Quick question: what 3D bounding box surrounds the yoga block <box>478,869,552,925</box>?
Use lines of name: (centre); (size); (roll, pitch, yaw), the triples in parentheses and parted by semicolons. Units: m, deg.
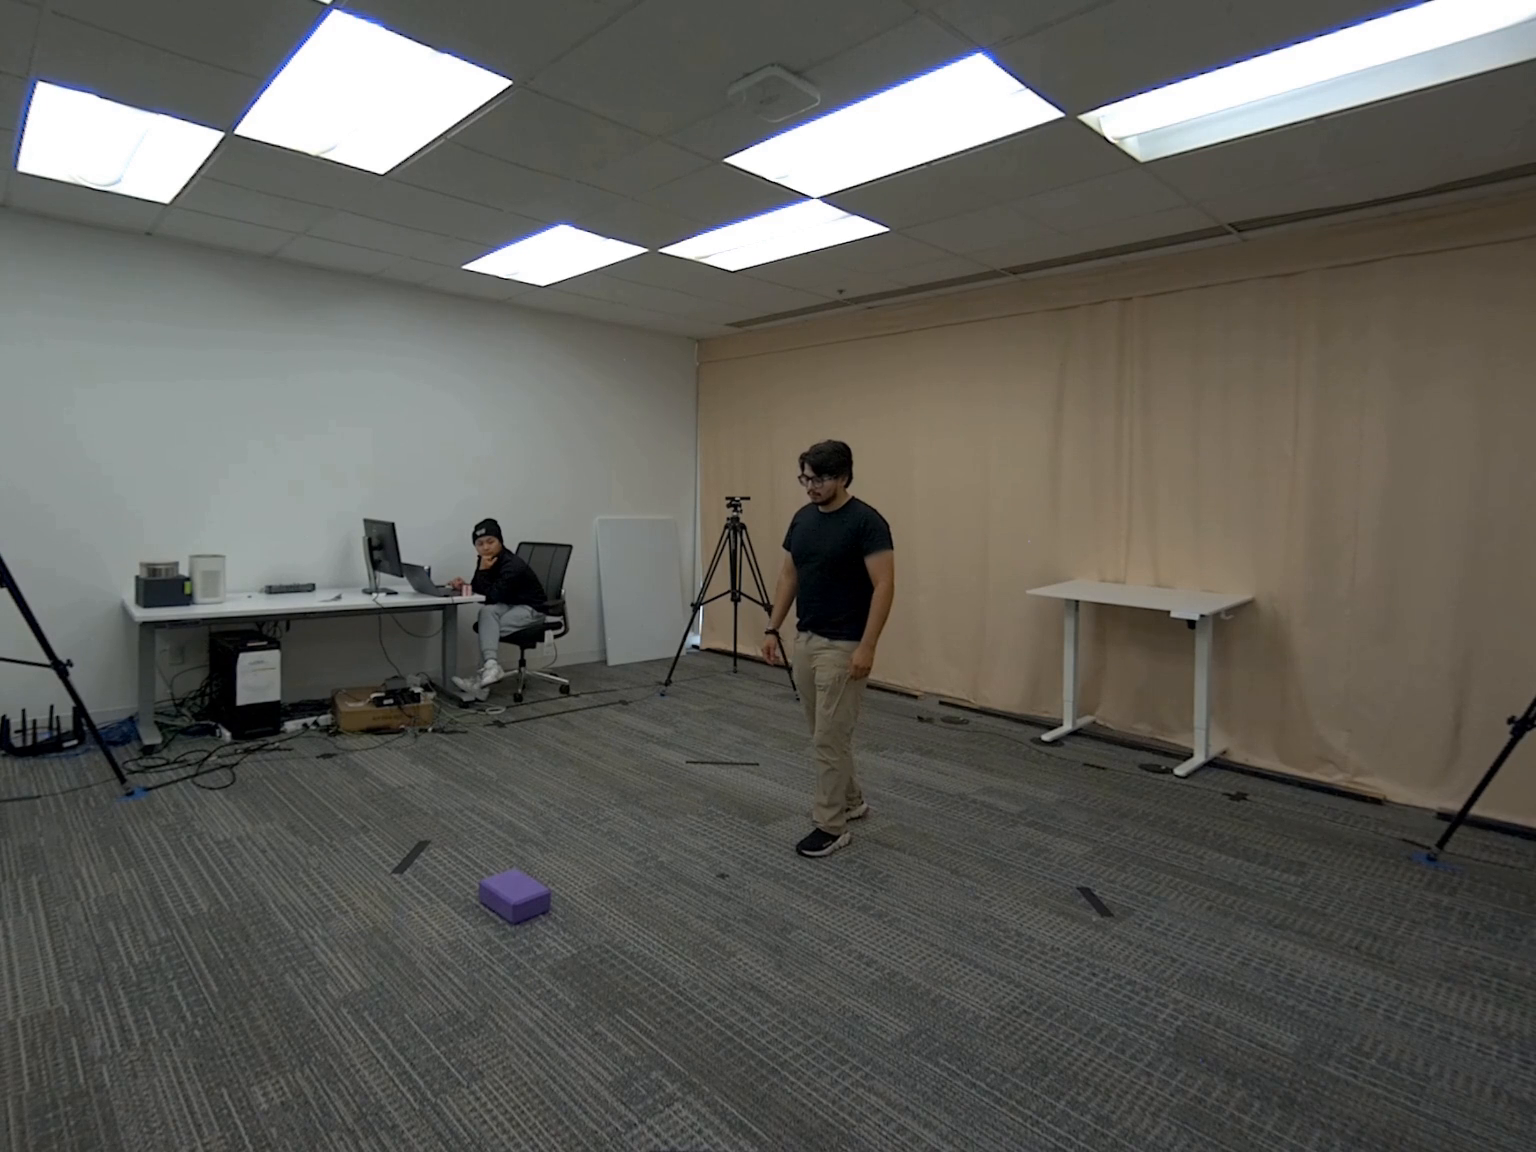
yoga block: (-0.861, 1.078, 2.834); (0.235, 0.076, 0.146); (6, 7, 43)
